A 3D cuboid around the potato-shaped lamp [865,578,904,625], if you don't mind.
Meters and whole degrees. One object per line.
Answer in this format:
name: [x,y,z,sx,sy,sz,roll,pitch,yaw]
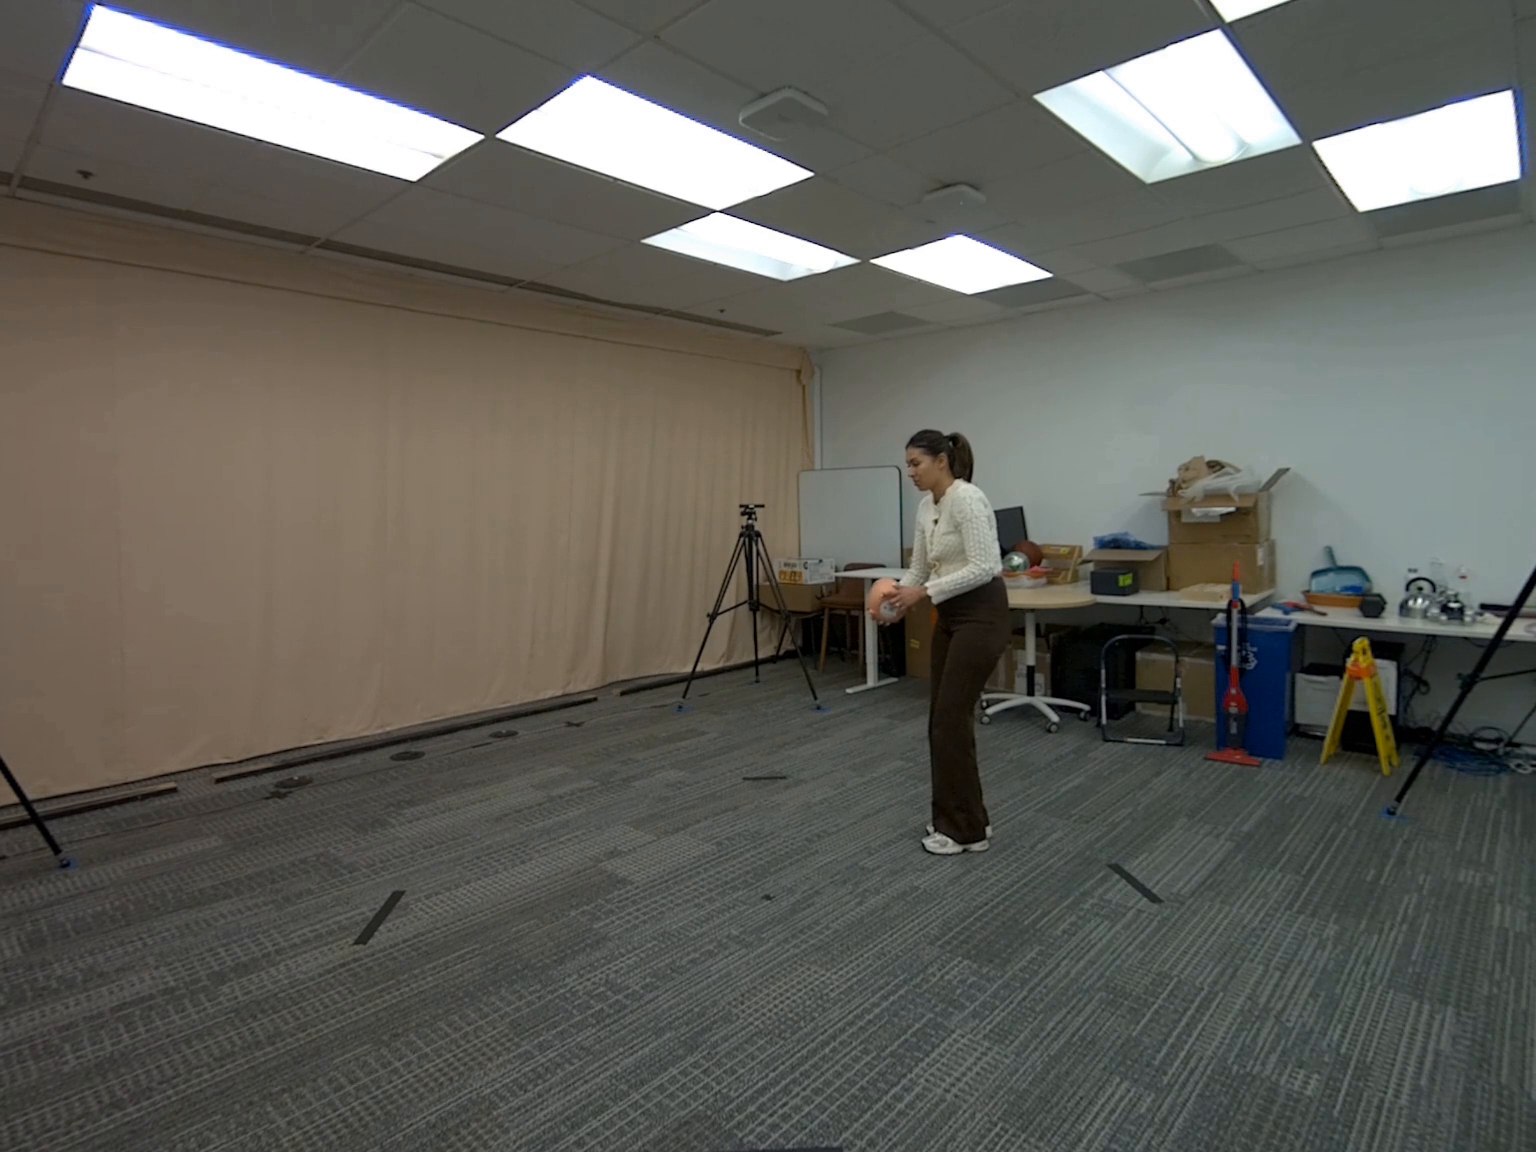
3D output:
potato-shaped lamp: [0.499,0.100,3.472,0.168,0.164,0.202,22,24,-15]
